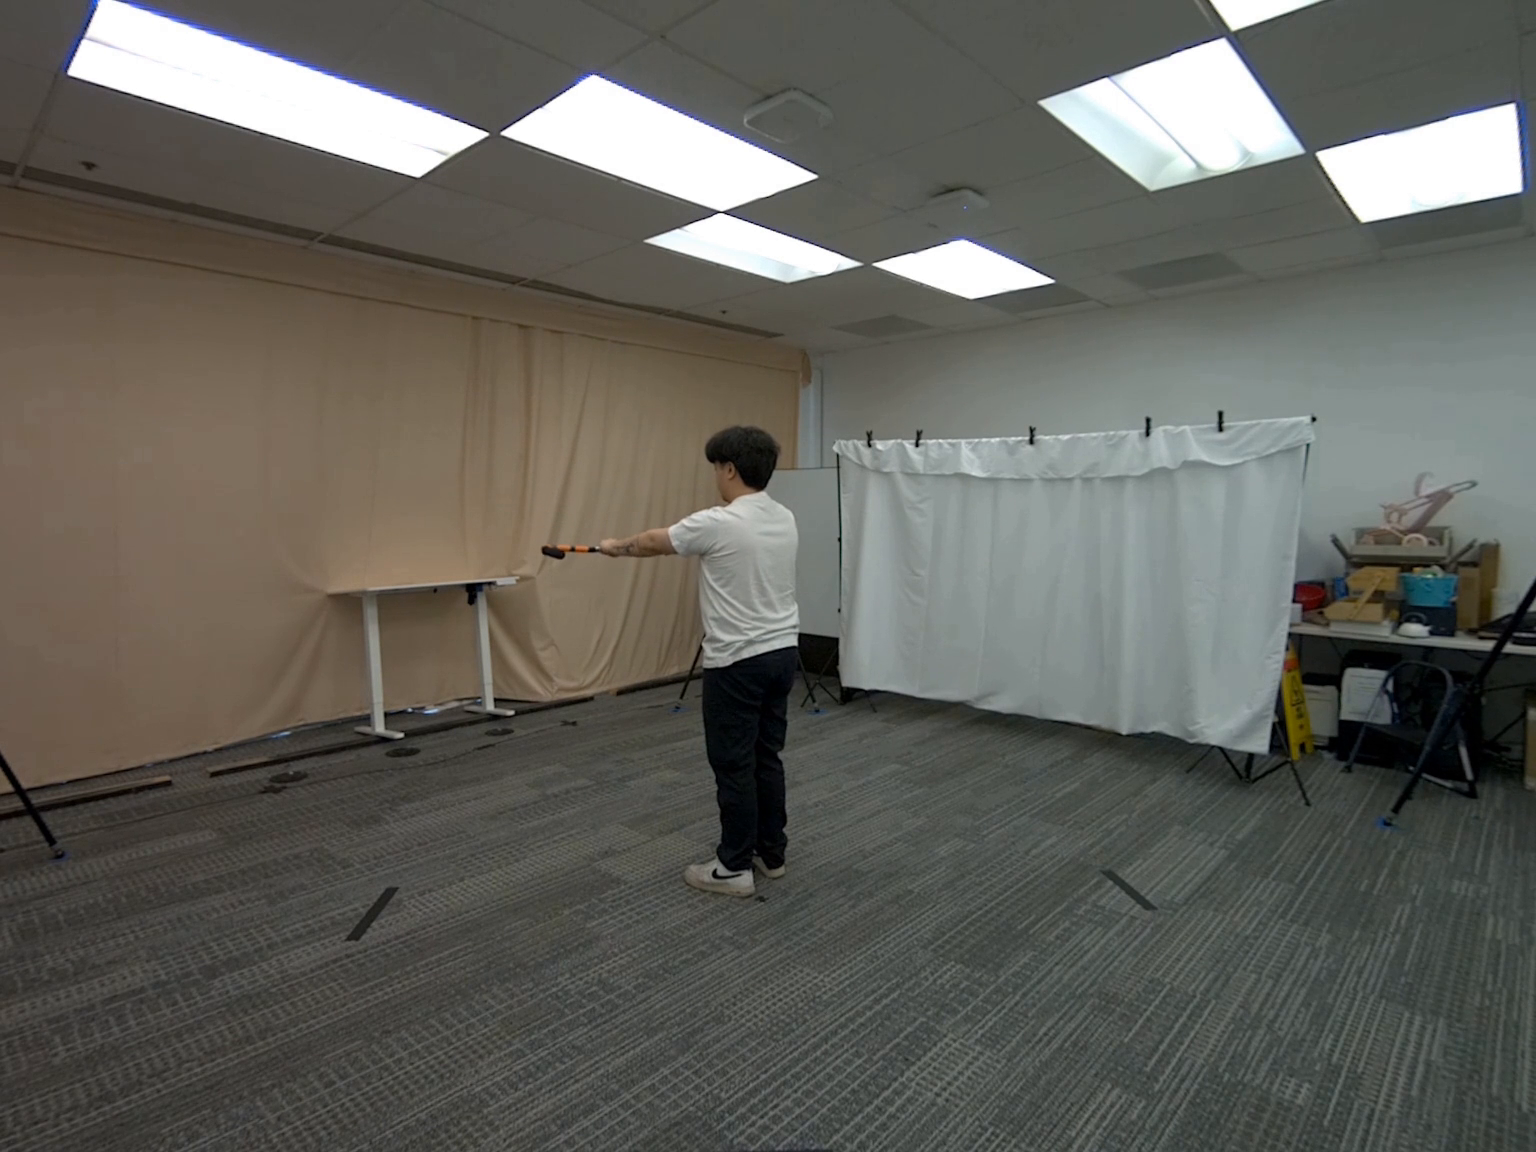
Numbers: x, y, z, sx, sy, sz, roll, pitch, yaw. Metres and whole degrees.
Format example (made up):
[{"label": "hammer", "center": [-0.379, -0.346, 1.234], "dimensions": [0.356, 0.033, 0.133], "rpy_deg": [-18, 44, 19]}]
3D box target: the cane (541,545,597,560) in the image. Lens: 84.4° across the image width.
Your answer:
[{"label": "cane", "center": [-0.536, -0.135, 3.438], "dimensions": [0.214, 0.151, 0.880], "rpy_deg": [13, 12, 42]}]
